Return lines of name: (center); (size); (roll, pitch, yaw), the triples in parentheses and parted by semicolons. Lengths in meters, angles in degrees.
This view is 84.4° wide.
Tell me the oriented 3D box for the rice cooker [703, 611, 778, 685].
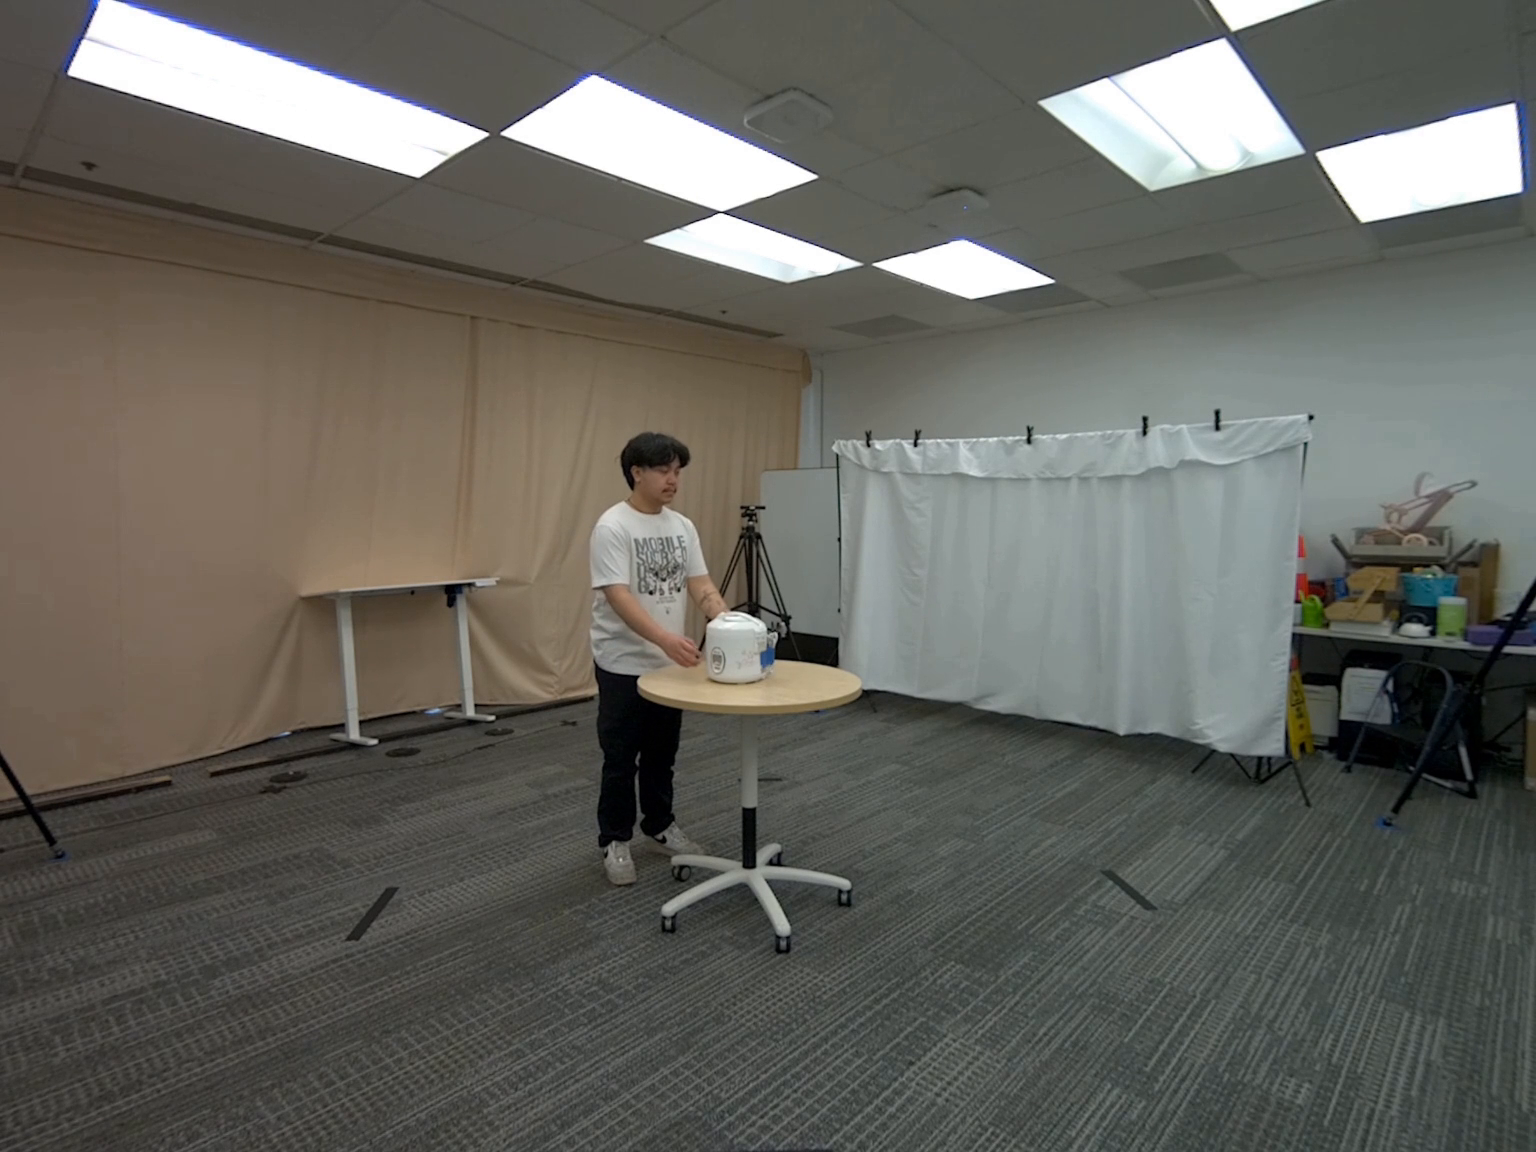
rice cooker: (-0.099, 0.241, 2.877); (0.227, 0.232, 0.211); (2, 4, 34)
